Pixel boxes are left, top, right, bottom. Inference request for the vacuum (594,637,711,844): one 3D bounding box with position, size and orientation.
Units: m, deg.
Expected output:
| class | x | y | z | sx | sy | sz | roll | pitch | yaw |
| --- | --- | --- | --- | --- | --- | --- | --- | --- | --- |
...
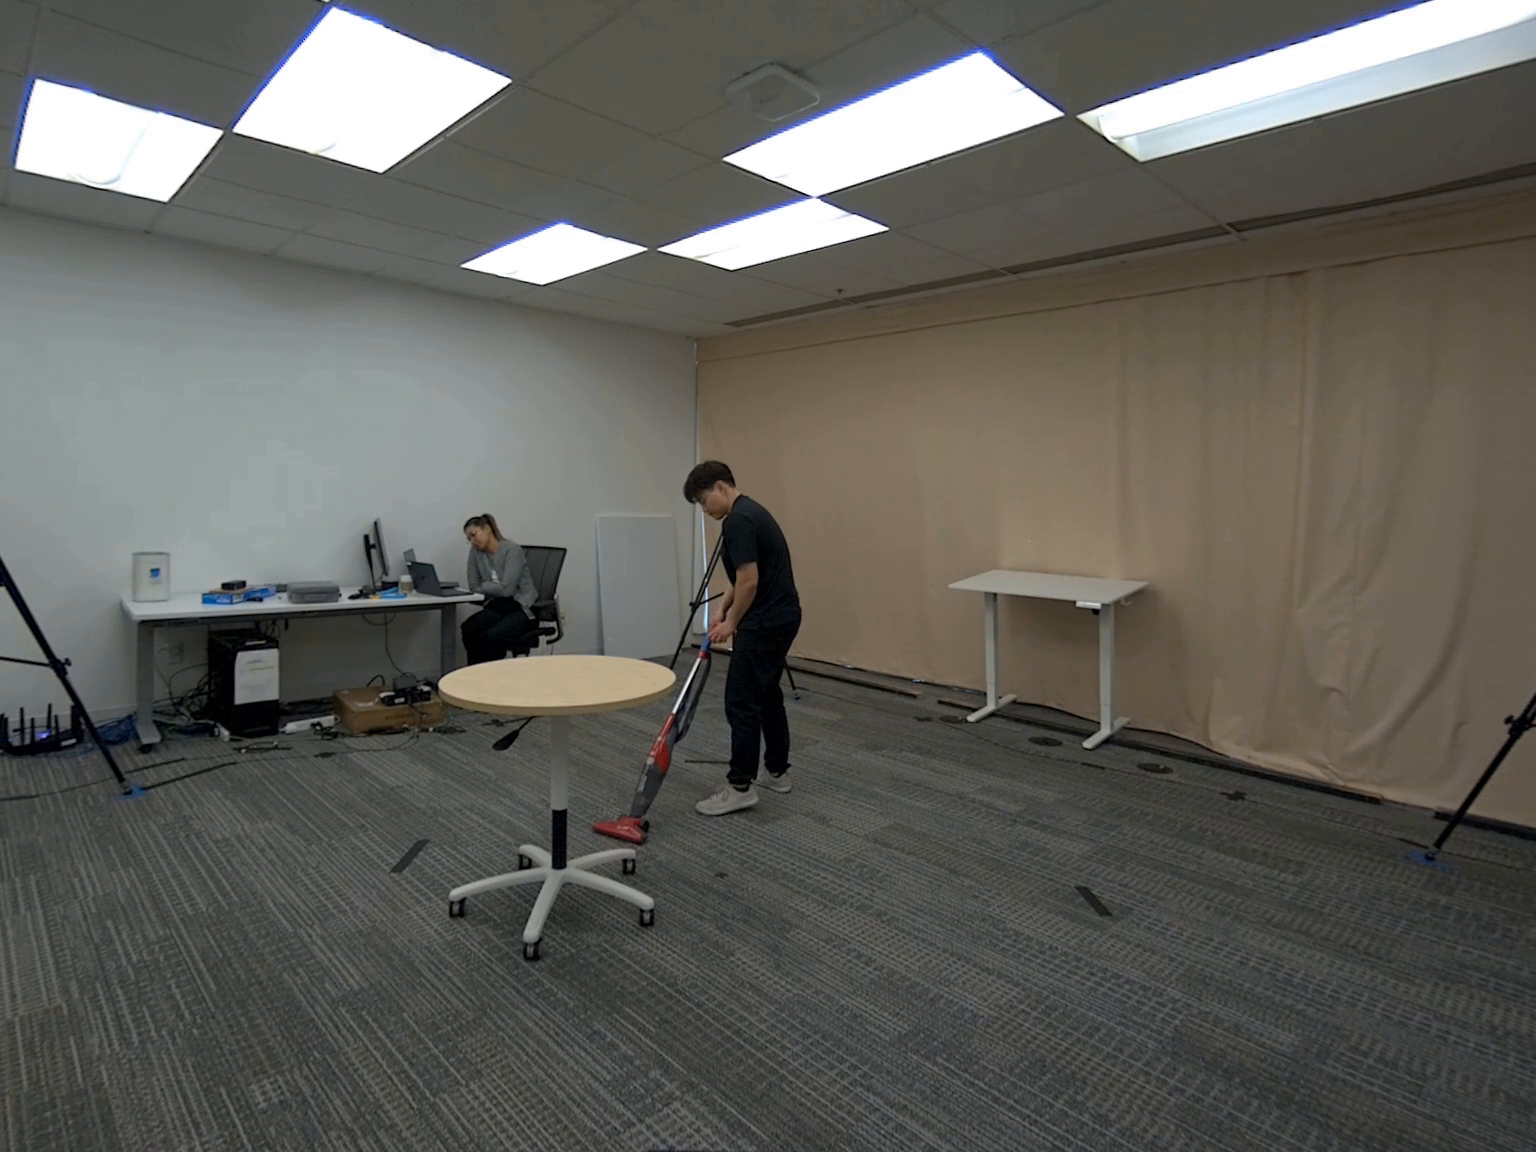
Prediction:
| class | x | y | z | sx | sy | sz | roll | pitch | yaw |
| --- | --- | --- | --- | --- | --- | --- | --- | --- | --- |
| vacuum | -0.418 | 0.644 | 3.738 | 0.258 | 1.059 | 0.140 | 6 | -37 | 25 |
